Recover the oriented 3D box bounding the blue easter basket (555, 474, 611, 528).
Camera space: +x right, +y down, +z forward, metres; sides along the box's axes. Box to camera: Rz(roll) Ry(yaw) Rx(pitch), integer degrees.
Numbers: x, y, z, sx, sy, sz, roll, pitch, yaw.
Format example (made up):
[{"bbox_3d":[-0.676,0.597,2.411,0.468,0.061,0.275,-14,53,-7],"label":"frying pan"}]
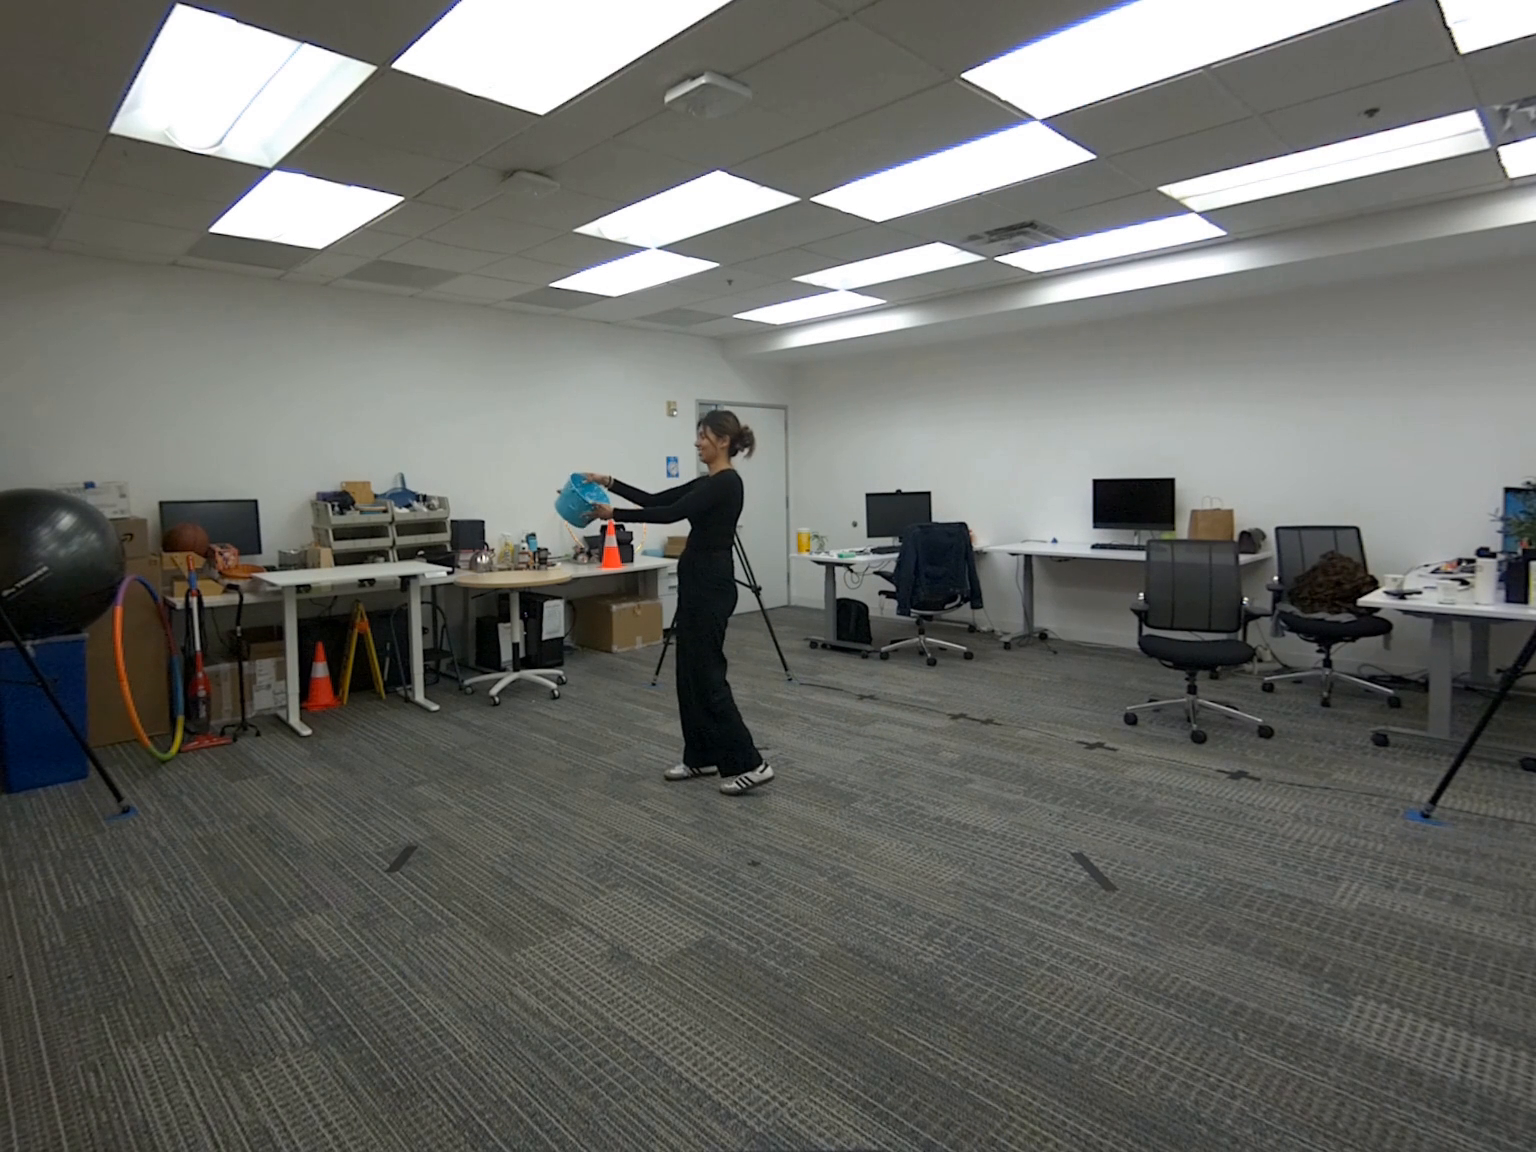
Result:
[{"bbox_3d":[-0.844,-0.332,3.889,0.156,0.247,0.240,-46,-10,17],"label":"blue easter basket"}]
